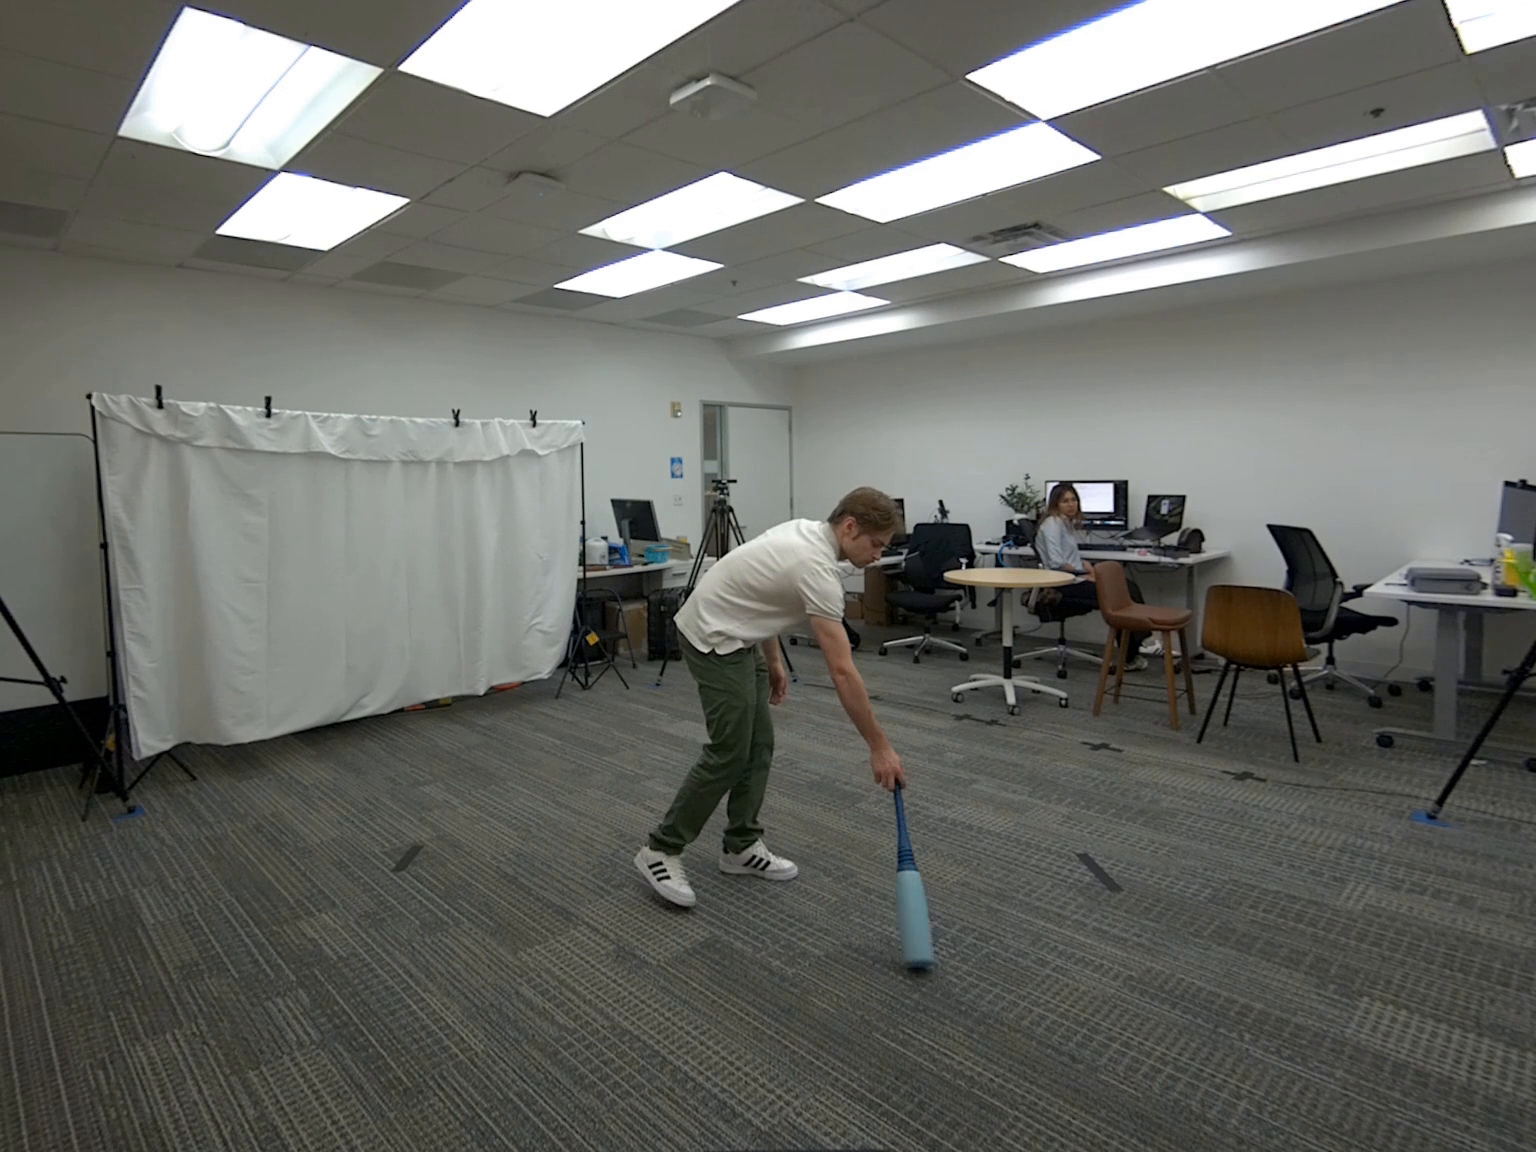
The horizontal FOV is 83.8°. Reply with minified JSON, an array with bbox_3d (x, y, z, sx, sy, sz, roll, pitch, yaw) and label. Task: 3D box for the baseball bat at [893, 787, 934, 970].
[{"bbox_3d":[0.418,0.880,2.566,0.089,0.557,0.087,0,-36,-2],"label":"baseball bat"}]
